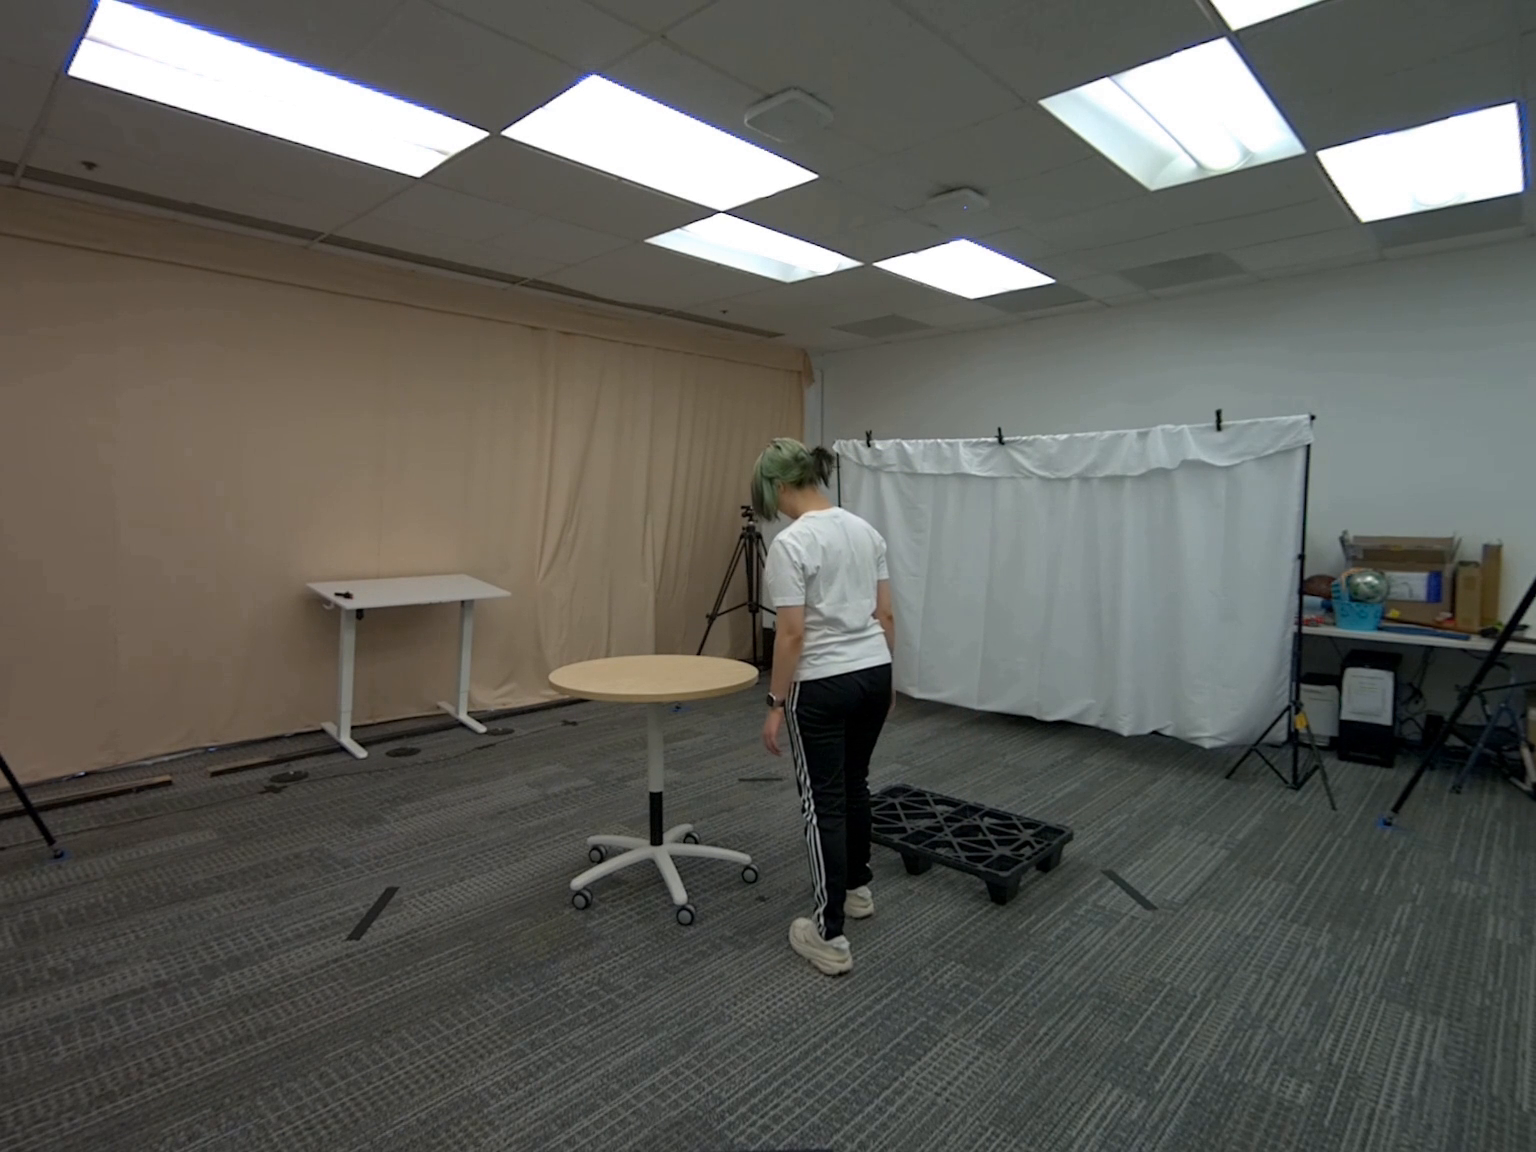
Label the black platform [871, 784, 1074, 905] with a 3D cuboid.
[{"bbox_3d":[0.699,1.046,3.344,0.832,0.143,0.586,4,6,42],"label":"black platform"}]
